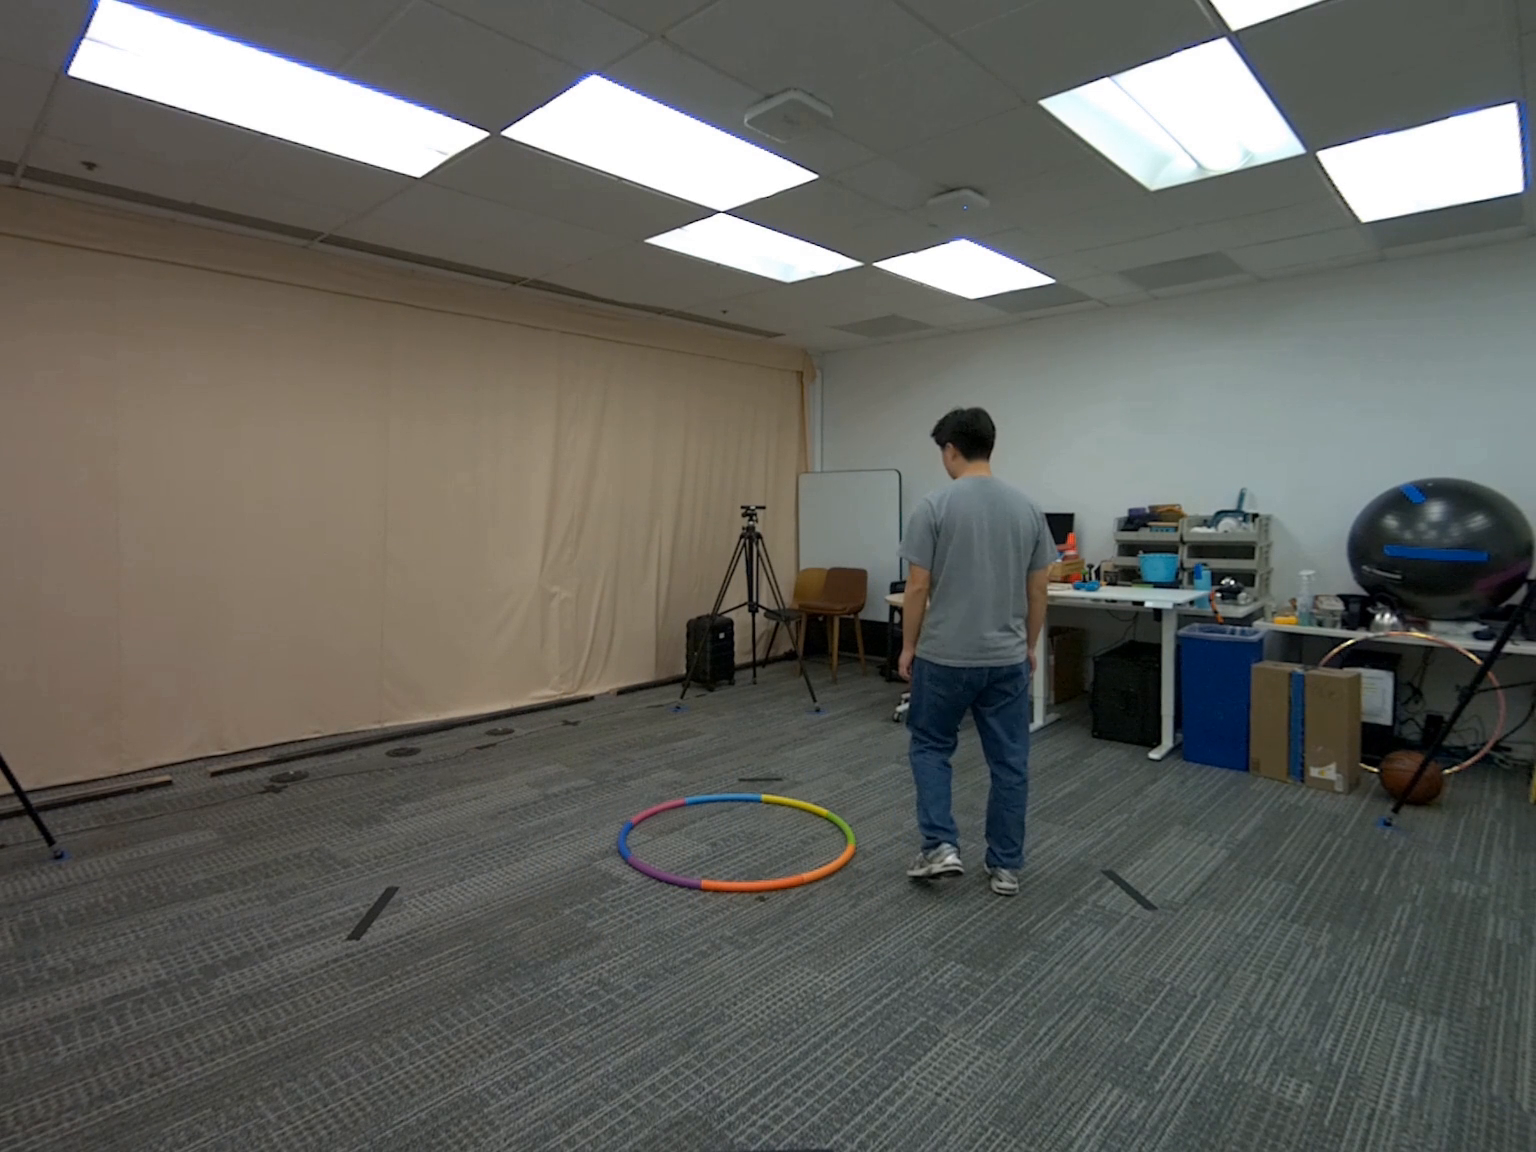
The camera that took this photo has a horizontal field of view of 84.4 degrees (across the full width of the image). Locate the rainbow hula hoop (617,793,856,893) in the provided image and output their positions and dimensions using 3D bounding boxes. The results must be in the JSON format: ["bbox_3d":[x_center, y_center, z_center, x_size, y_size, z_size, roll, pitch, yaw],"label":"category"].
[{"bbox_3d":[-0.134,1.069,3.504,0.978,0.035,0.982,-1,5,-2],"label":"rainbow hula hoop"}]
